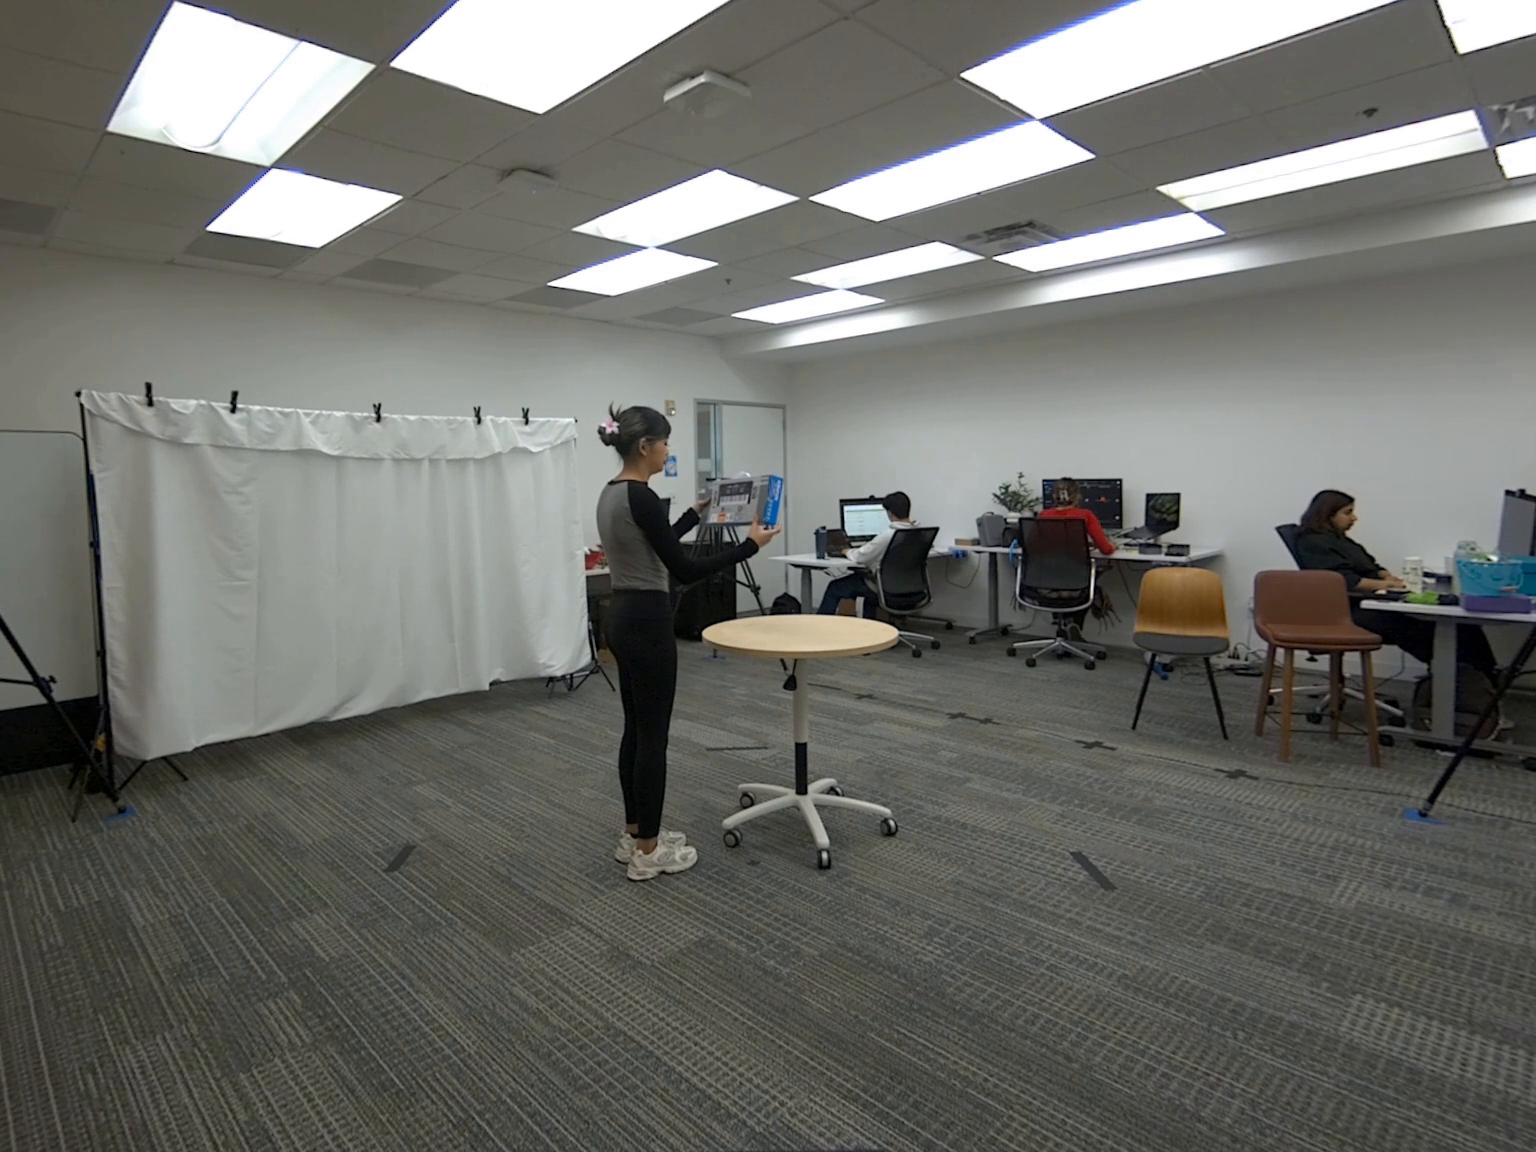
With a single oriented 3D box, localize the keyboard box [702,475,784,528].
[{"bbox_3d":[-0.107,-0.270,3.189,0.057,0.177,0.449,14,-6,-34],"label":"keyboard box"}]
